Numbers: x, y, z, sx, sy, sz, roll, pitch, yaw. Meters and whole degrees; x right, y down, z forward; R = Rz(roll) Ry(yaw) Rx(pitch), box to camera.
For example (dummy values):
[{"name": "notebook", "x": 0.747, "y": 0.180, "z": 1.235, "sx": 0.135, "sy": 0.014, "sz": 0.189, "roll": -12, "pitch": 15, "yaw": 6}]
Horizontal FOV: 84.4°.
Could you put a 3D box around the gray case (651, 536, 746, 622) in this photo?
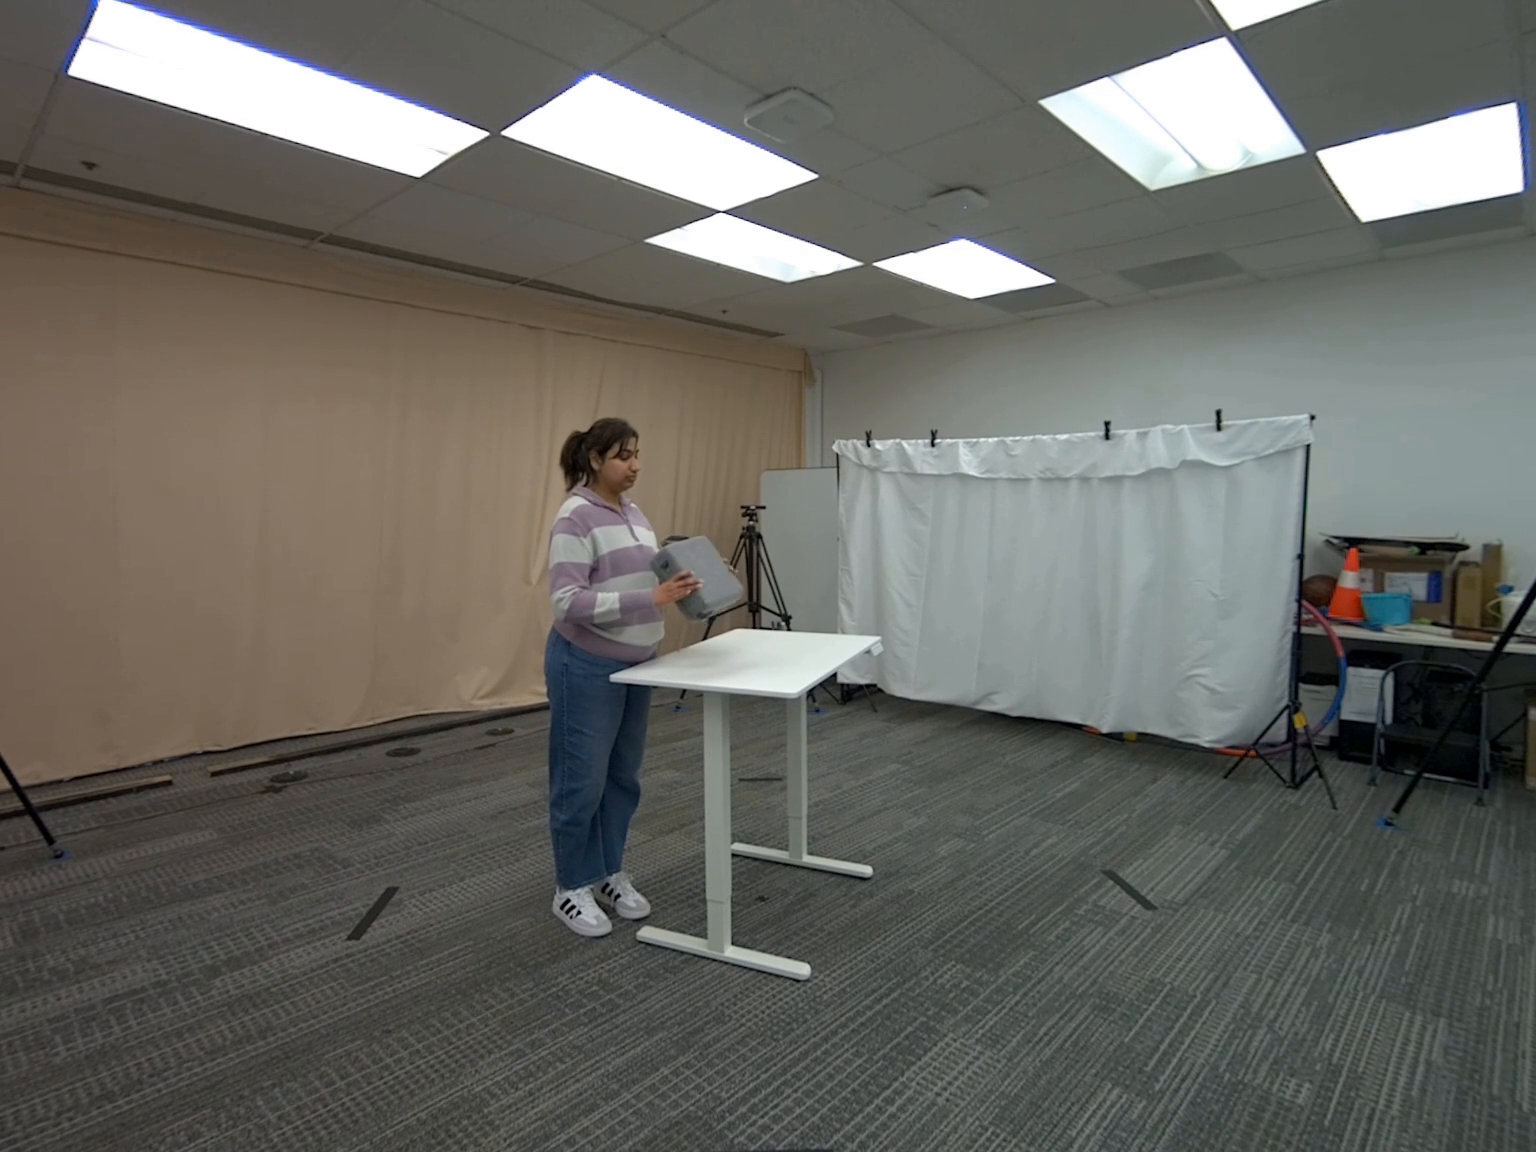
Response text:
[{"name": "gray case", "x": -0.223, "y": 0.007, "z": 2.694, "sx": 0.105, "sy": 0.264, "sz": 0.251, "roll": -42, "pitch": -11, "yaw": 31}]
